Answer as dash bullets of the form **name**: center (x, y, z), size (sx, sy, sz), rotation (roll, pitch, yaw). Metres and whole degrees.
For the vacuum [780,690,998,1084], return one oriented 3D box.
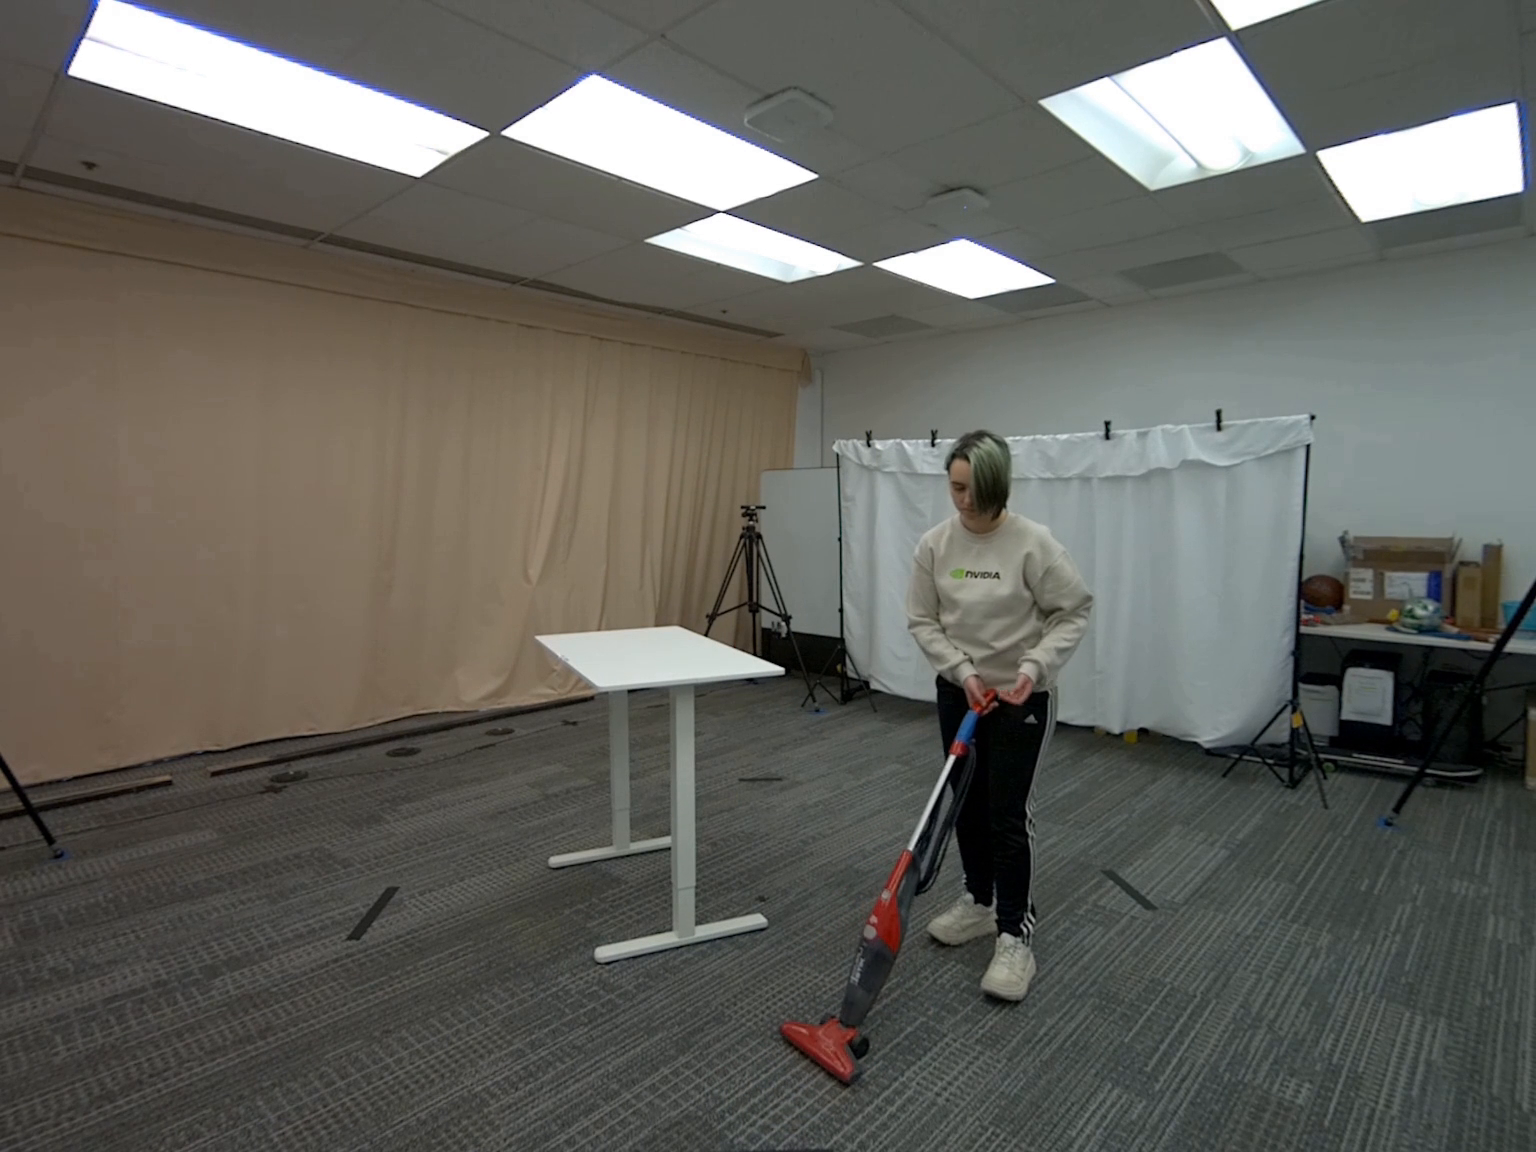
- **vacuum**: center (0.410, 0.796, 2.307), size (0.262, 1.048, 0.139), rotation (13, -27, 43)
